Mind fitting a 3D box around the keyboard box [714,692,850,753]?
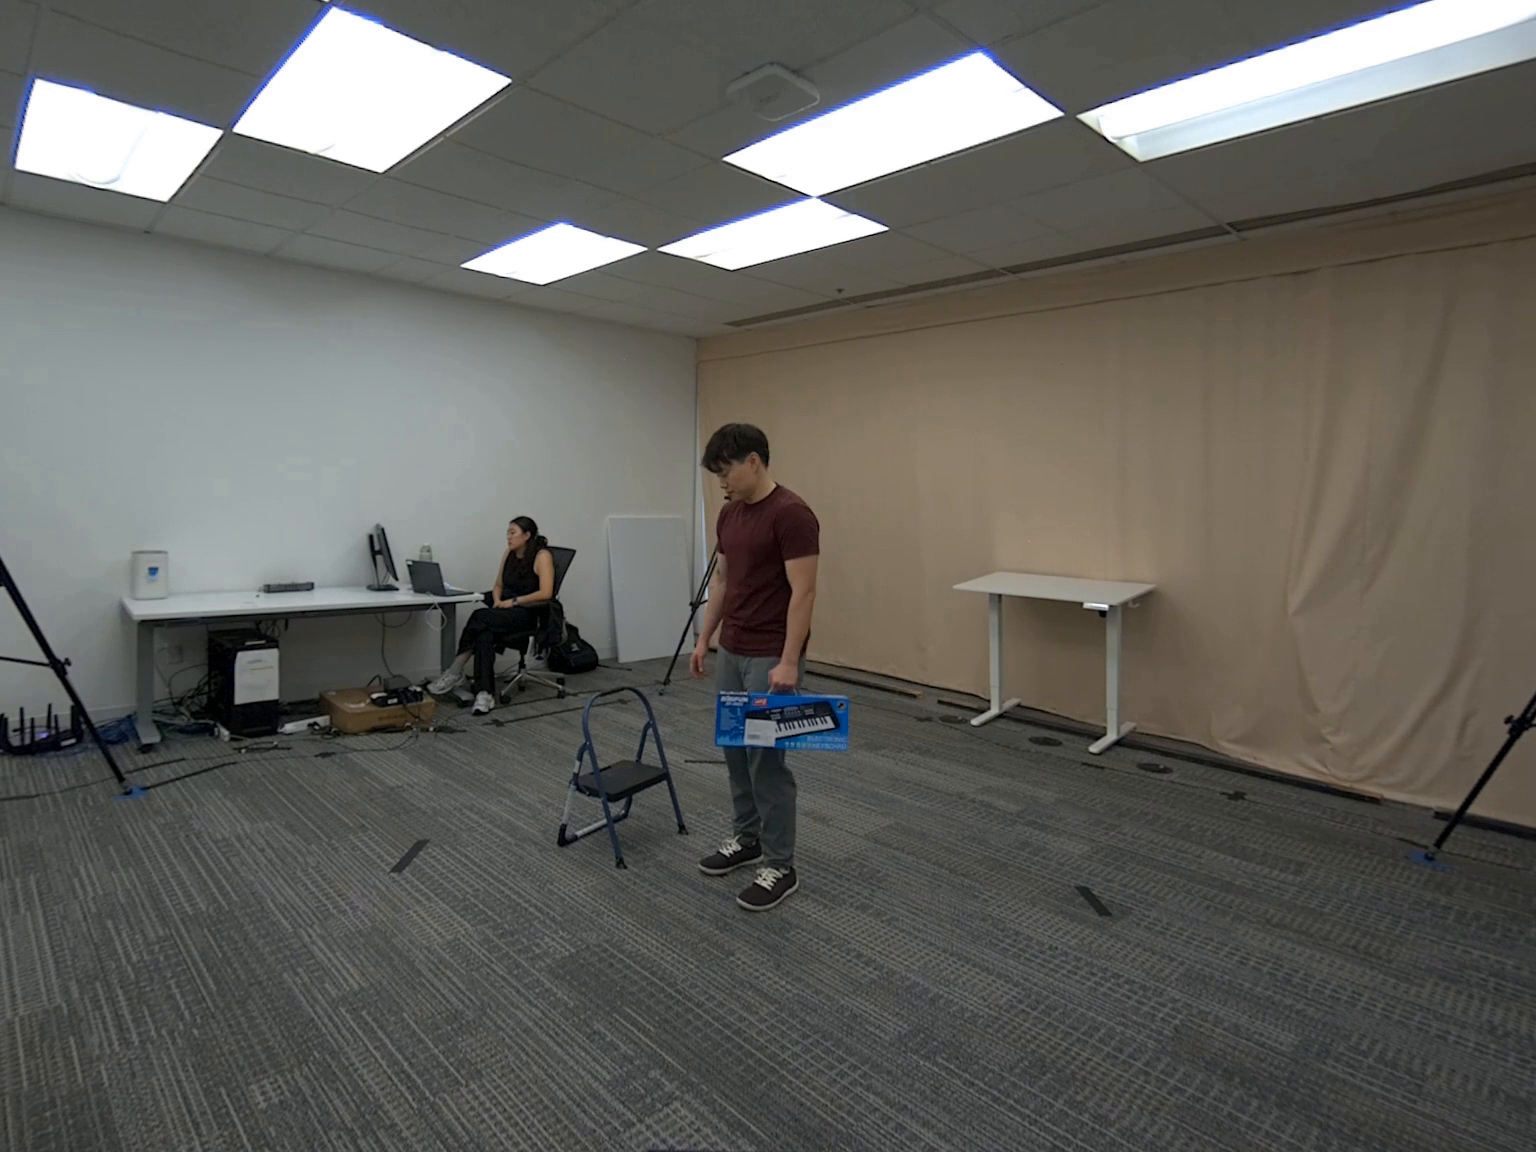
[{"bbox_3d":[0.034,0.478,2.789,0.435,0.176,0.059,3,-3,-4],"label":"keyboard box"}]
